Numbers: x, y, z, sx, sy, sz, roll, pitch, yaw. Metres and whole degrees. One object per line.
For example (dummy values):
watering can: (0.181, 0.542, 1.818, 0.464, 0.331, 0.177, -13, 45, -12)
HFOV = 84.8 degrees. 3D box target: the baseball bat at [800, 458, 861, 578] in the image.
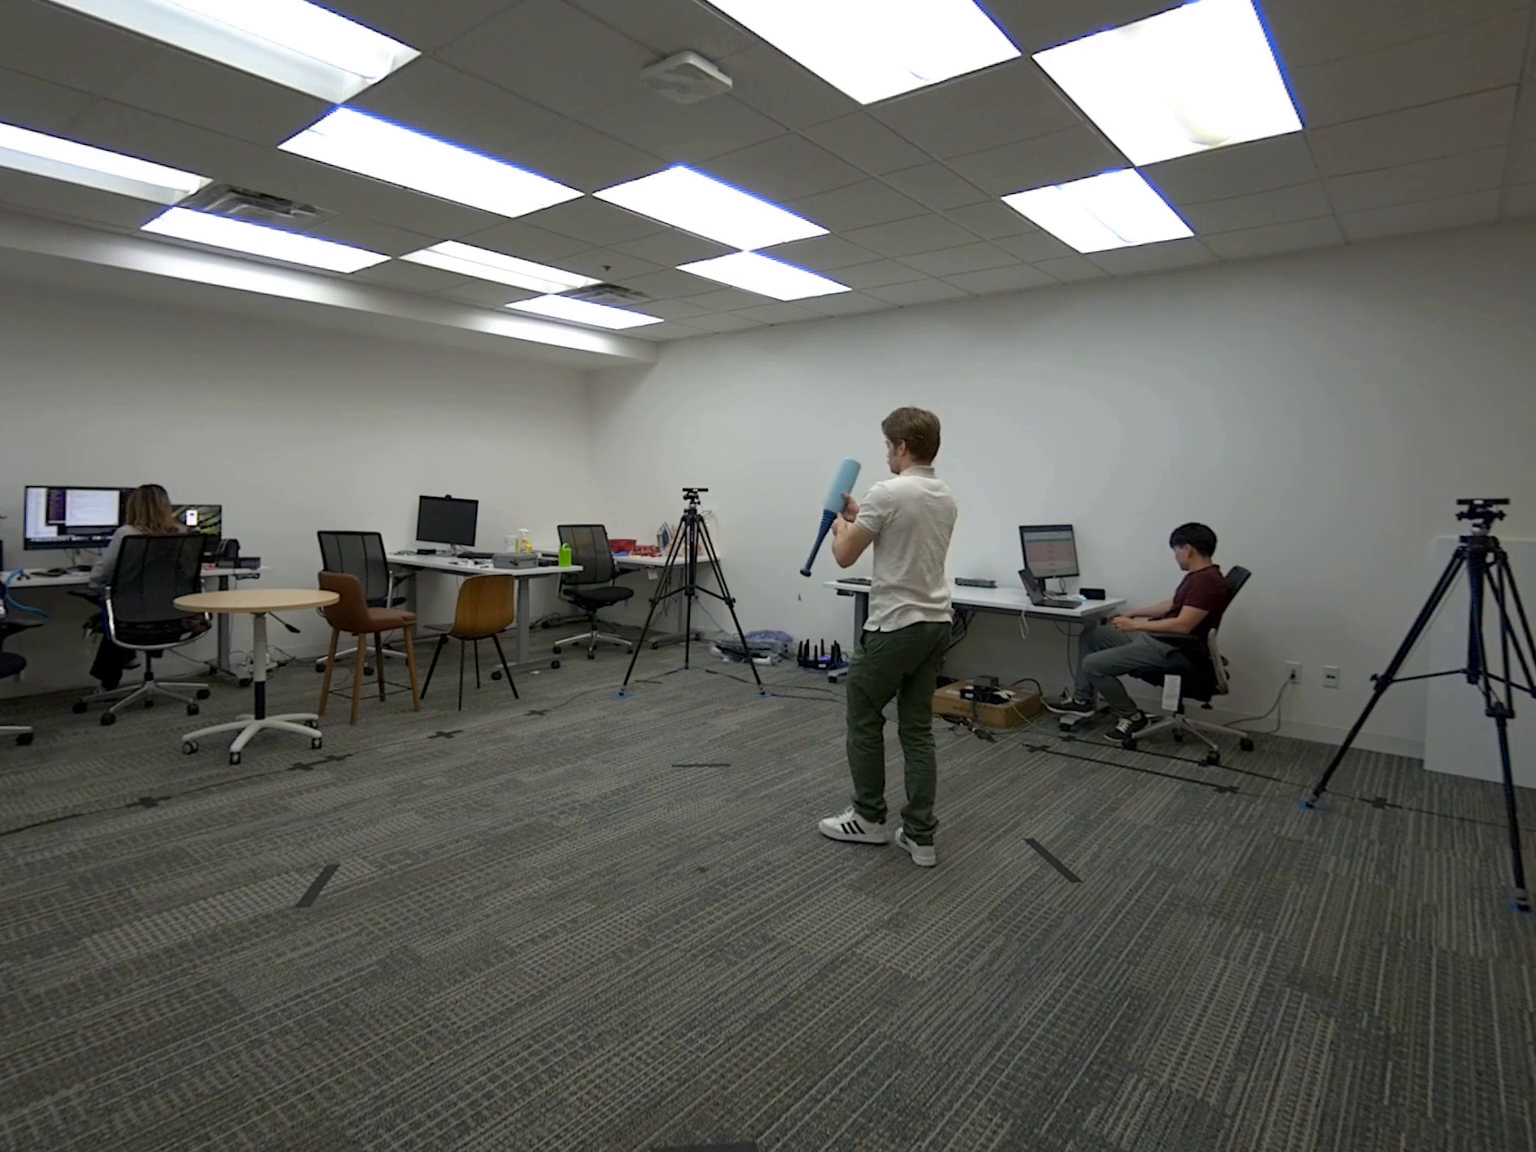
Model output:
baseball bat: (0.252, -0.248, 3.619, 0.089, 0.545, 0.088, 23, -8, 1)
